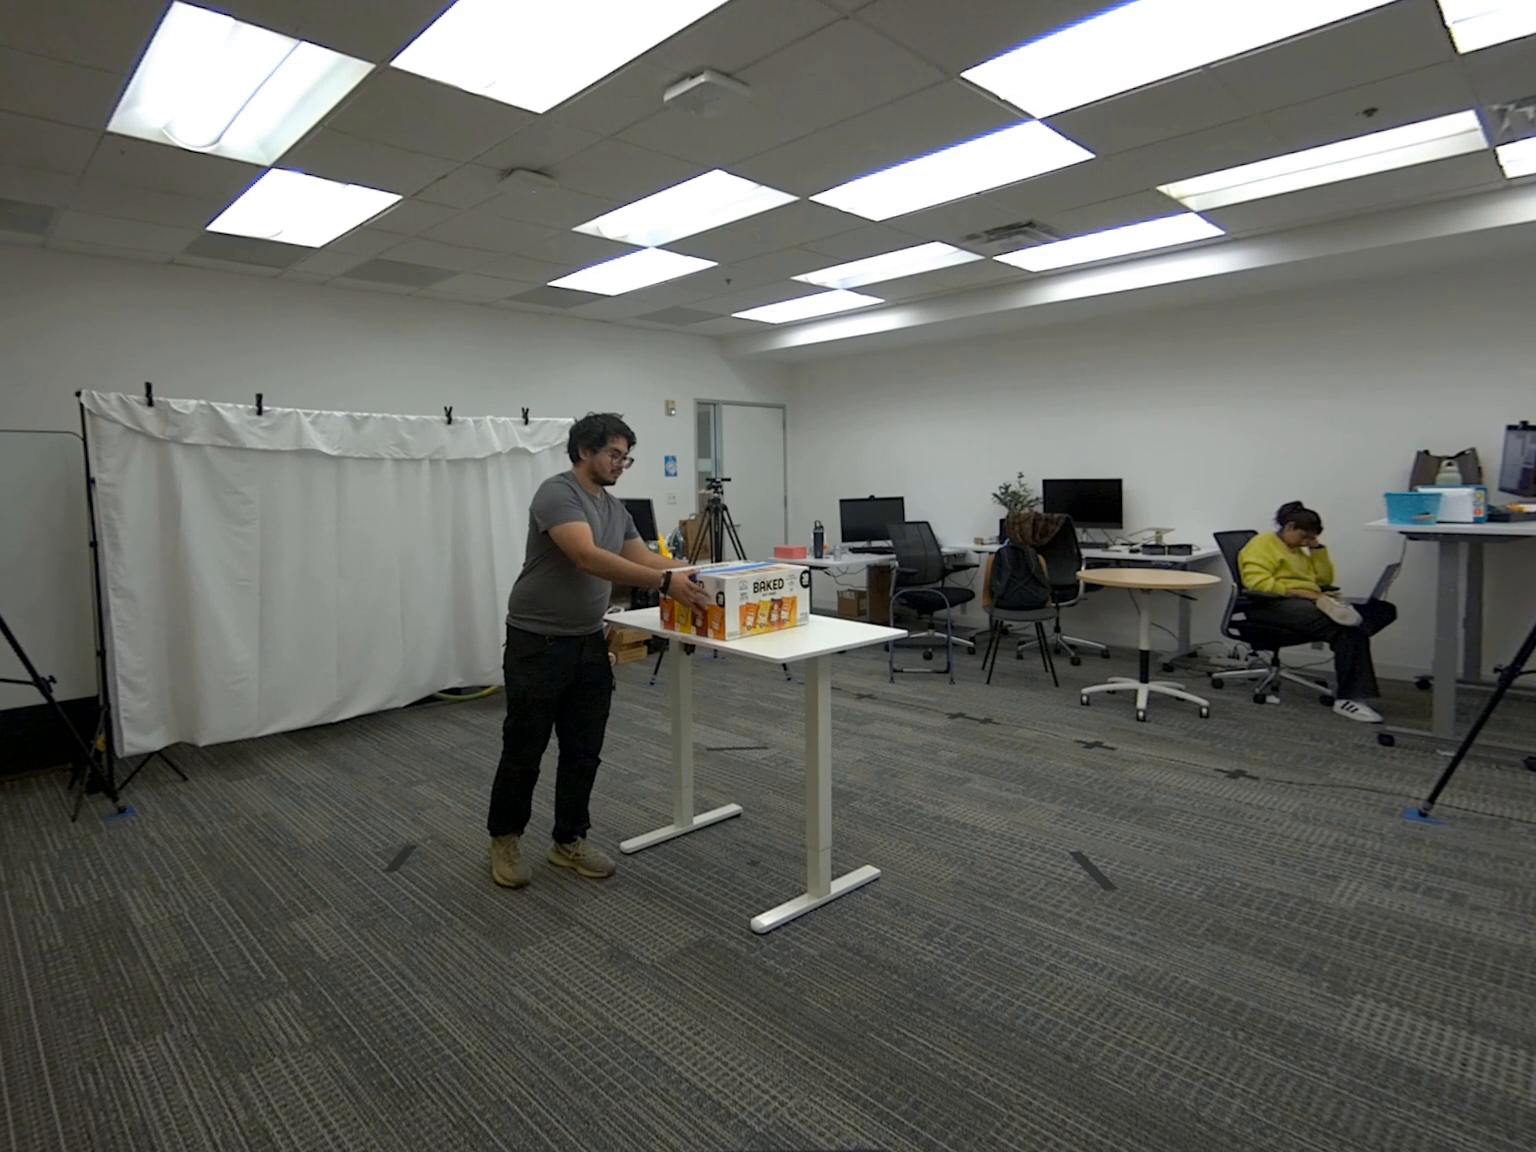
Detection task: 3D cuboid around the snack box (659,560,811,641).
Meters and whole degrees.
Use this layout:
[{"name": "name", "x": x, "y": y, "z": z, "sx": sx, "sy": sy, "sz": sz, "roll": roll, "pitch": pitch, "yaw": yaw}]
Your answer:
[{"name": "snack box", "x": -0.115, "y": 0.074, "z": 2.963, "sx": 0.351, "sy": 0.205, "sz": 0.395, "roll": 6, "pitch": 9, "yaw": 45}]
